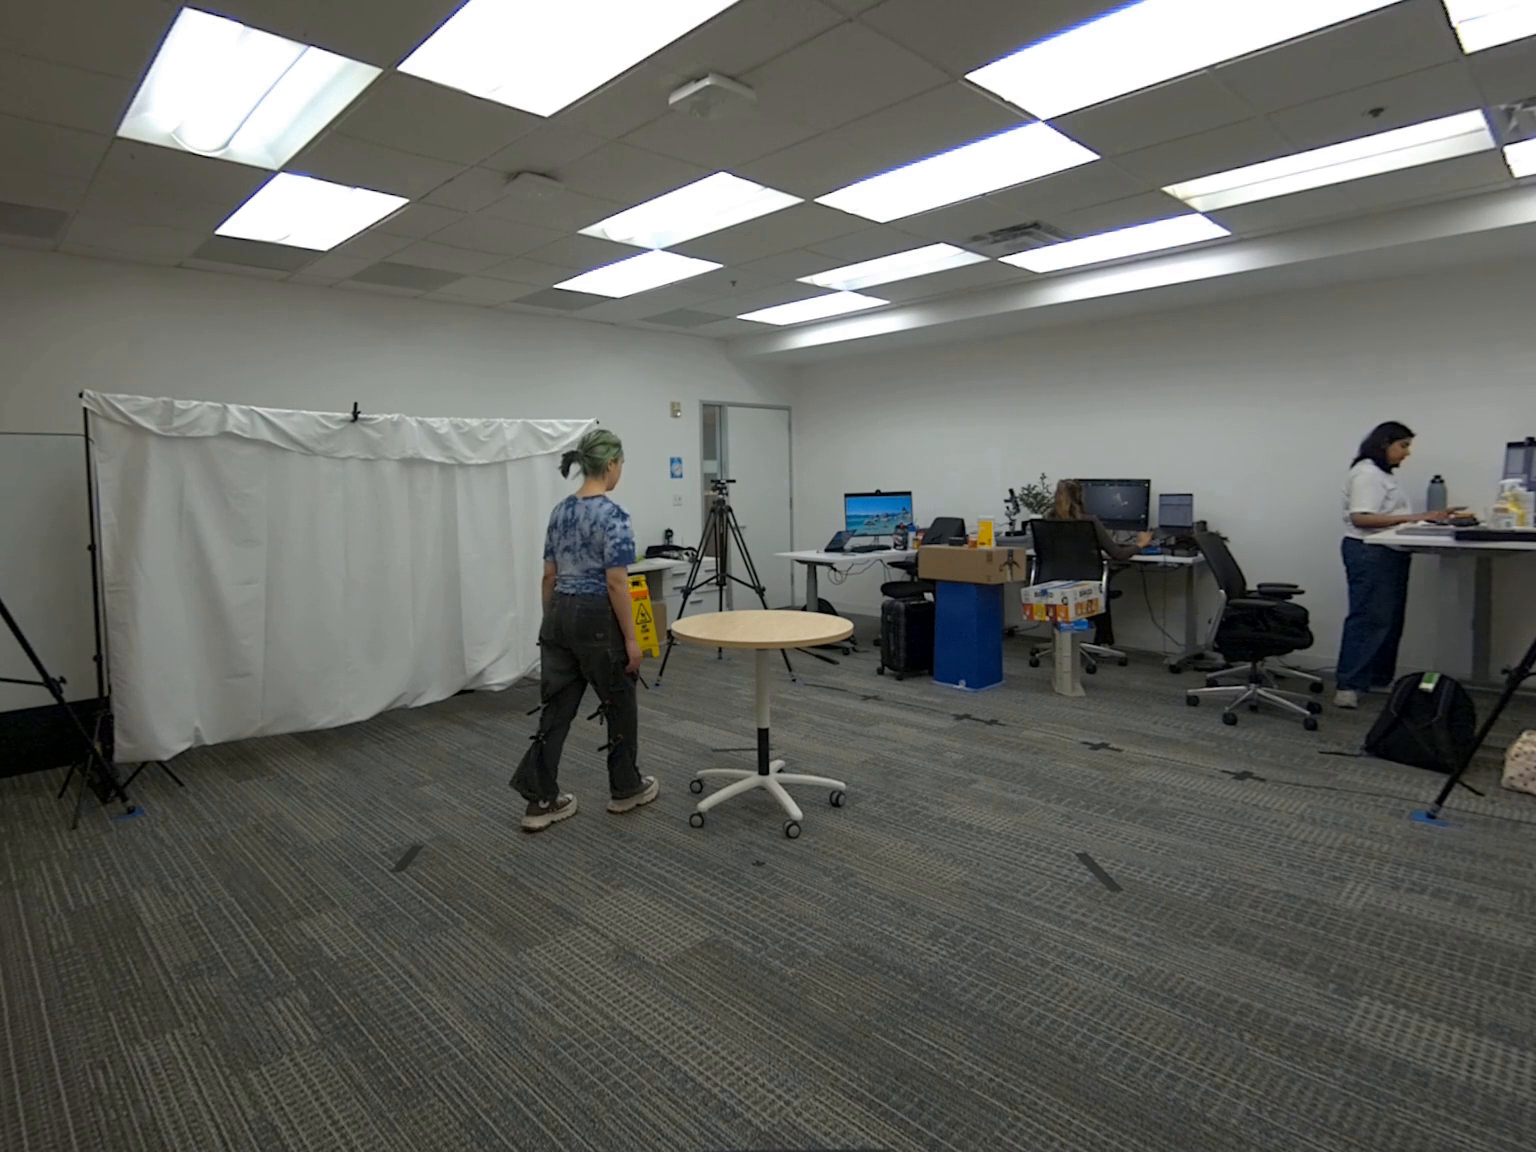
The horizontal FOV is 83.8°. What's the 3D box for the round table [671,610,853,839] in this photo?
[{"bbox_3d":[-0.028,0.596,3.620,0.763,0.791,0.768,-1,5,-2],"label":"round table"}]
